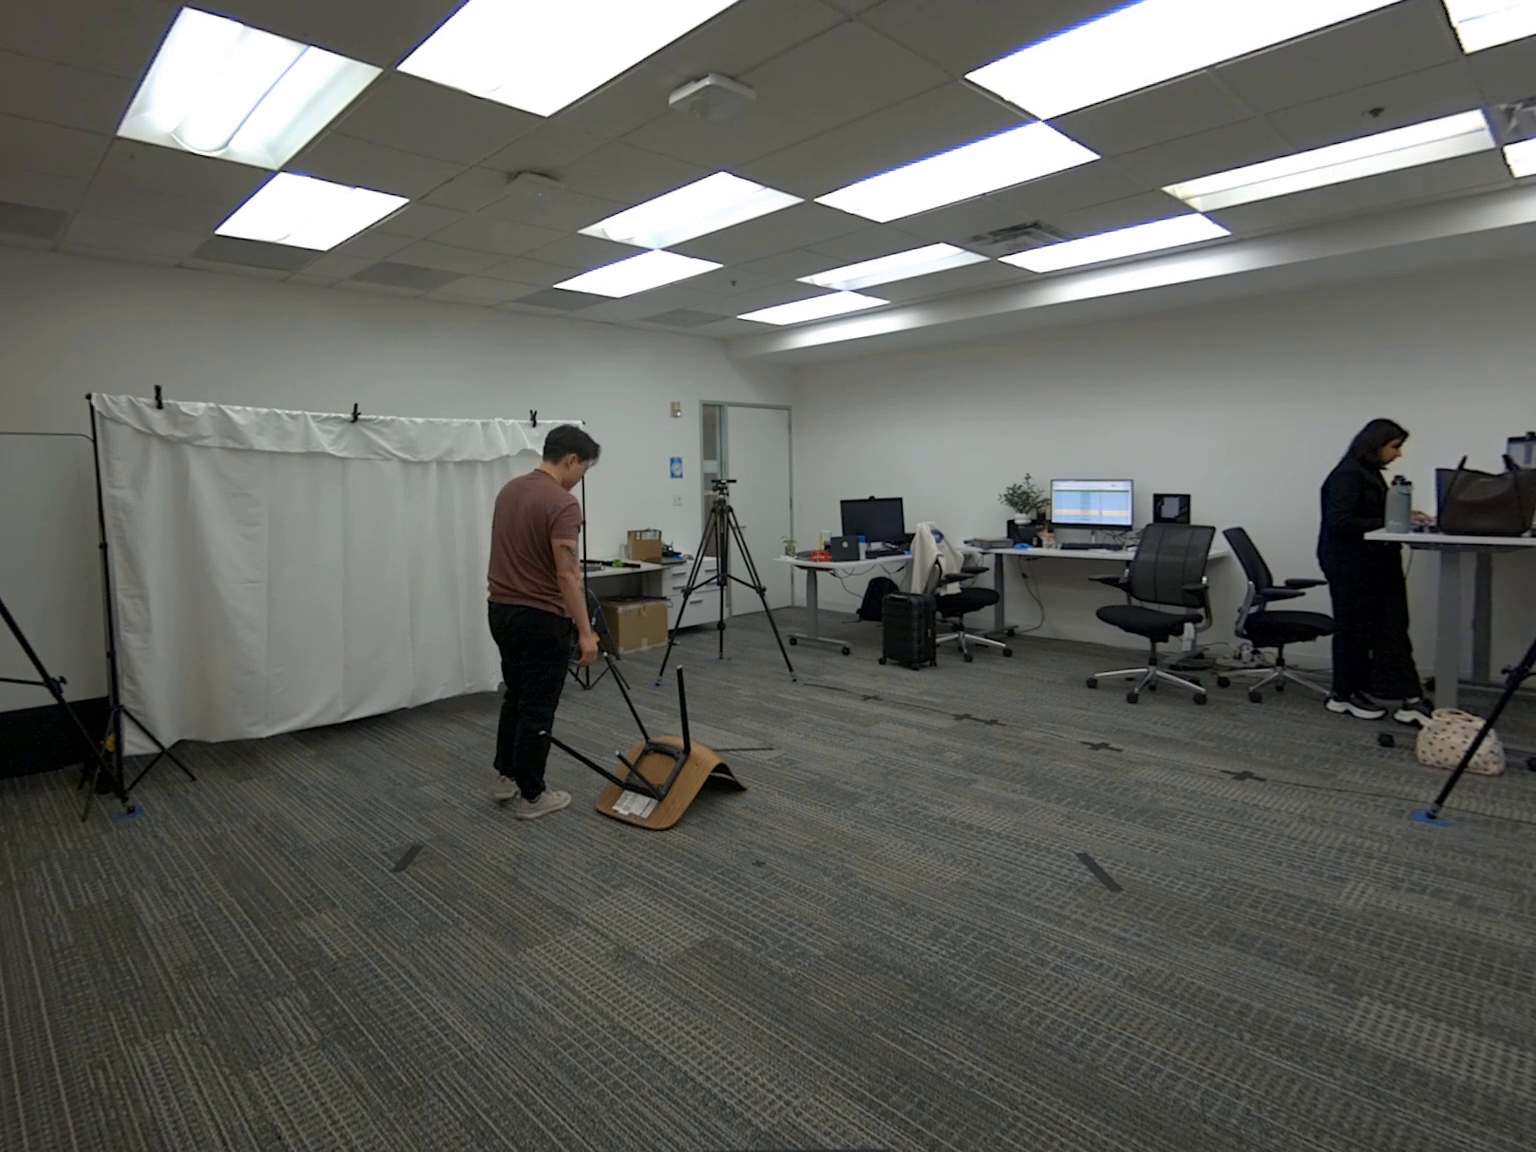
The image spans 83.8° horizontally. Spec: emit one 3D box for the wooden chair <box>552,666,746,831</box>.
[{"bbox_3d":[-0.487,0.823,3.649,0.492,0.847,0.526,2,45,37],"label":"wooden chair"}]
